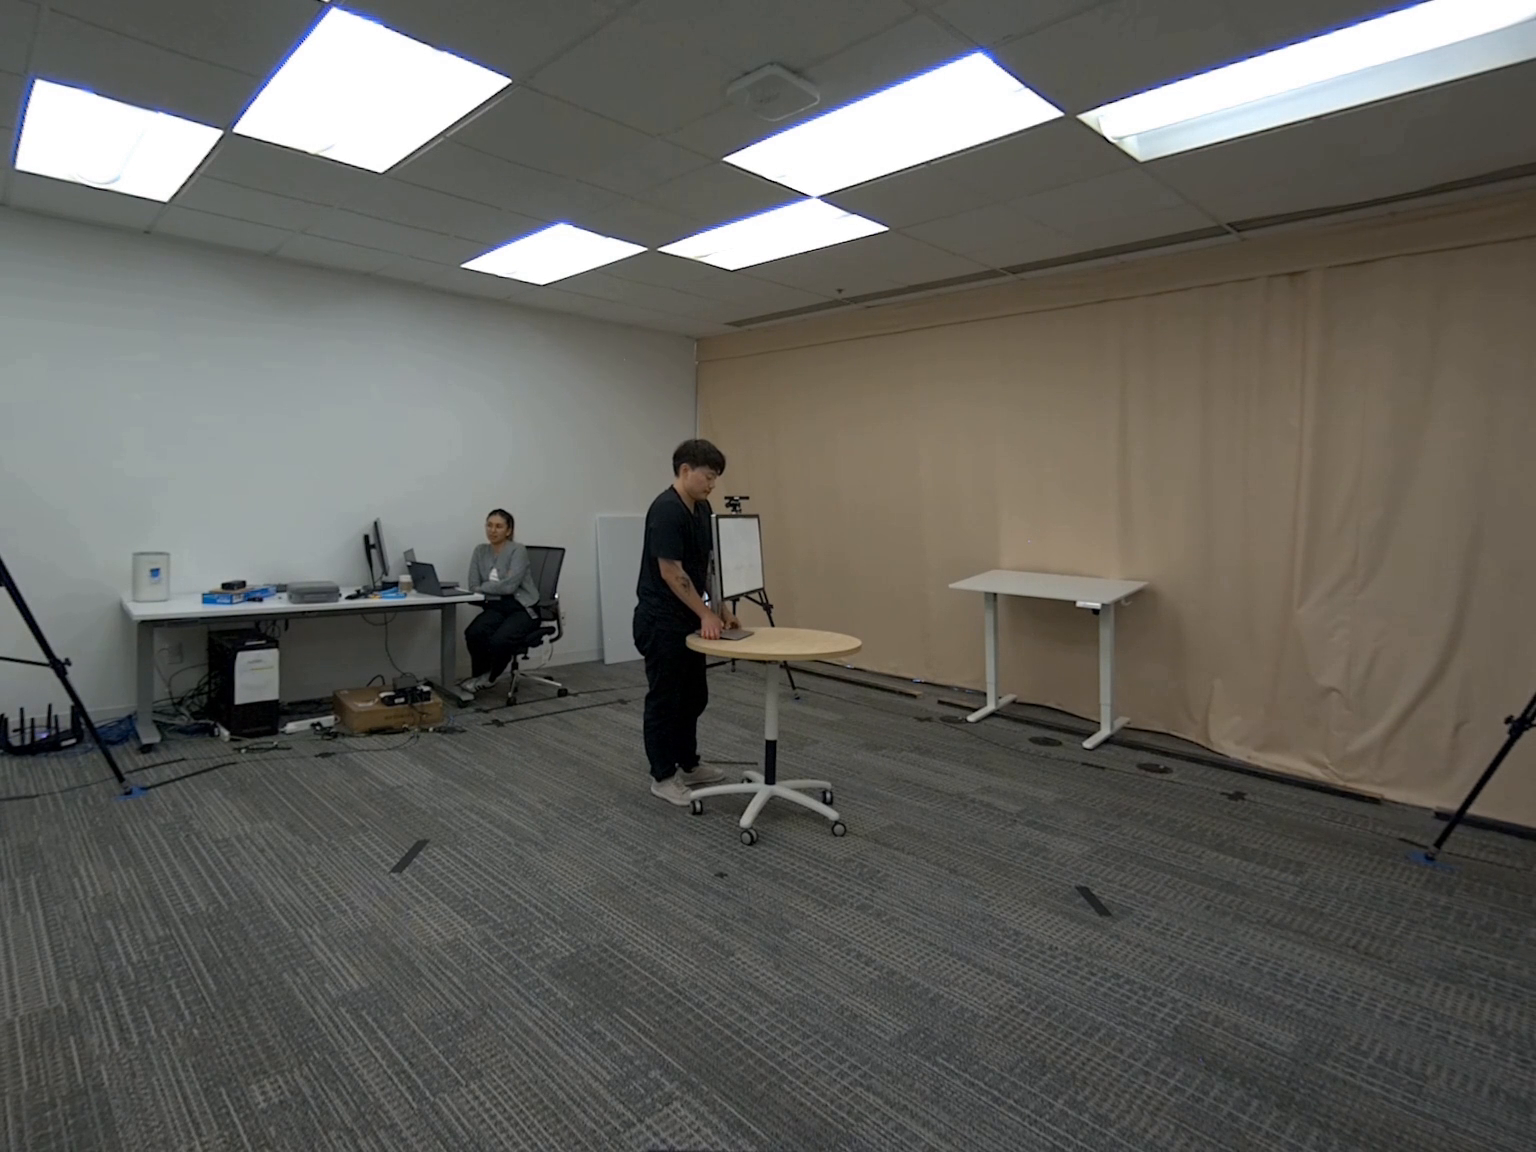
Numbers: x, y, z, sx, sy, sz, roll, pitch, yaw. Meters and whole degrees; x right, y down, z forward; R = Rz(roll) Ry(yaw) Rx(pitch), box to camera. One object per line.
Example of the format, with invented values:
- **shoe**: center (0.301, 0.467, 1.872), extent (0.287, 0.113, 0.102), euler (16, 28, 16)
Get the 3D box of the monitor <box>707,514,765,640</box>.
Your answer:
- **monitor**: center (-0.173, -0.007, 3.741), extent (0.190, 0.521, 0.532), euler (8, 5, 16)
